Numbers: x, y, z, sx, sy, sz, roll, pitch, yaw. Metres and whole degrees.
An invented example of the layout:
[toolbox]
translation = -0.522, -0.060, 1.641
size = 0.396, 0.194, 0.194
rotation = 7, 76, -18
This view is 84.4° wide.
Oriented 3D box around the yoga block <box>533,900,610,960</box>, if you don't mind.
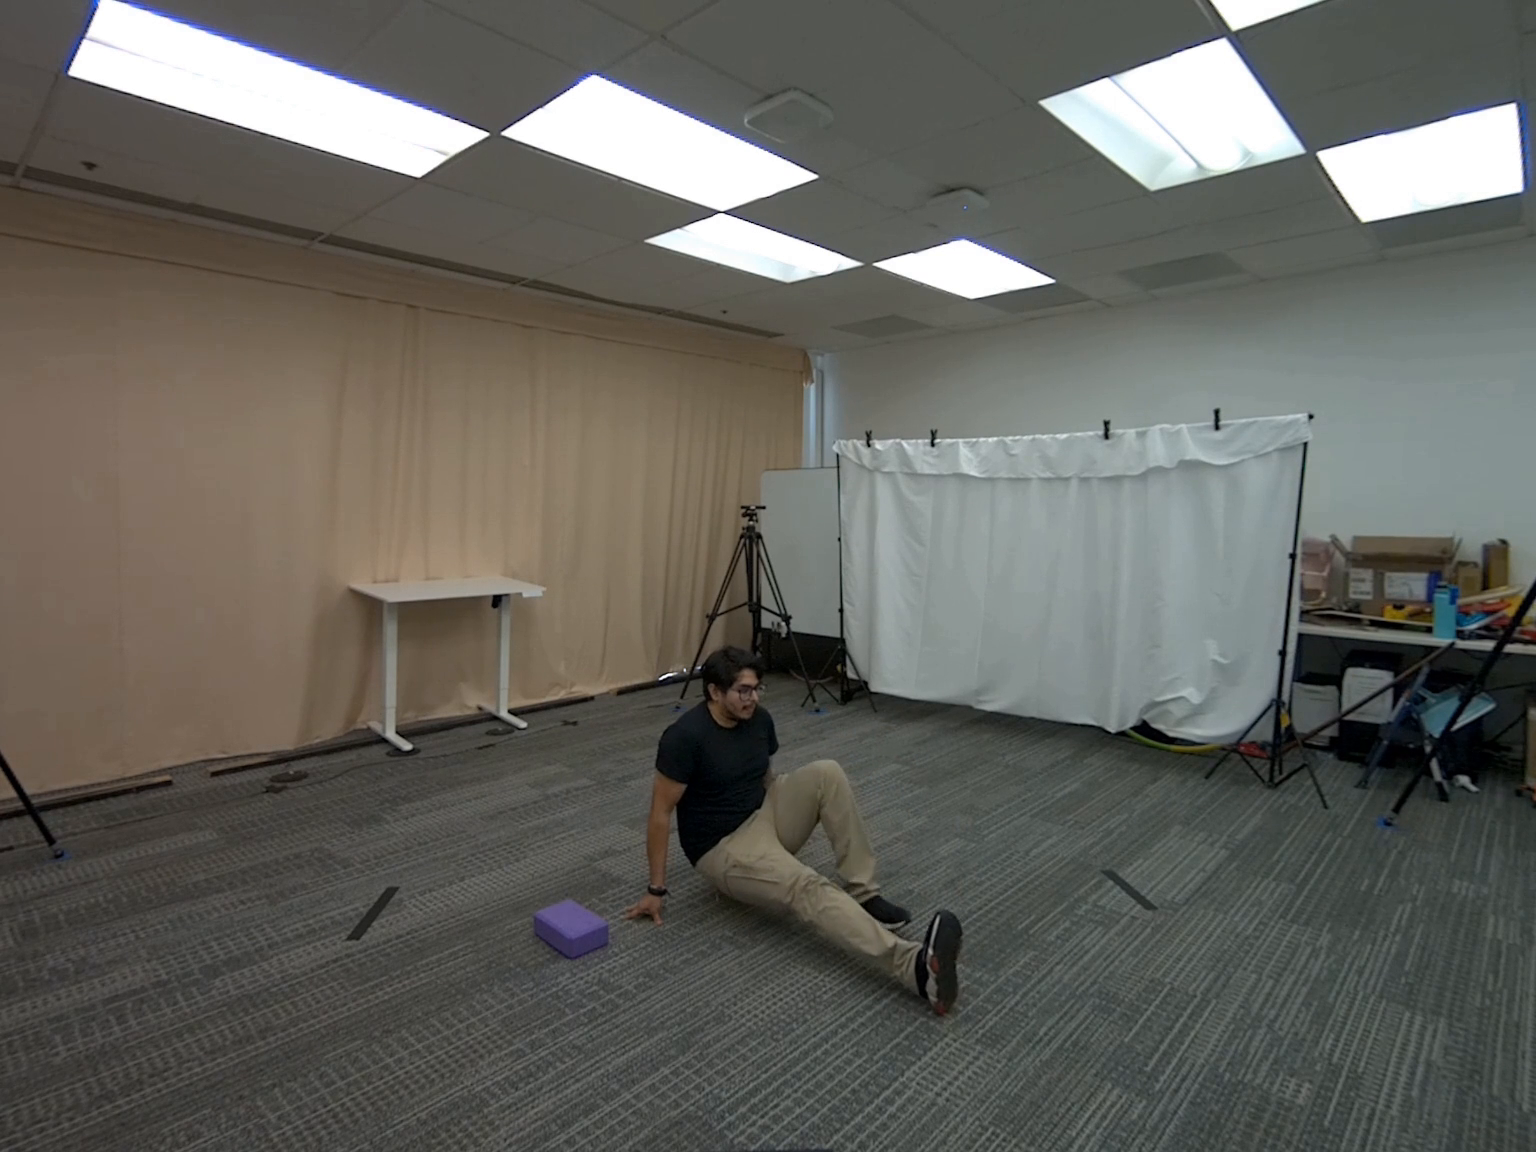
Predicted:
[yoga block]
translation = -0.633, 1.137, 2.707
size = 0.237, 0.076, 0.144
rotation = 3, 6, 45
